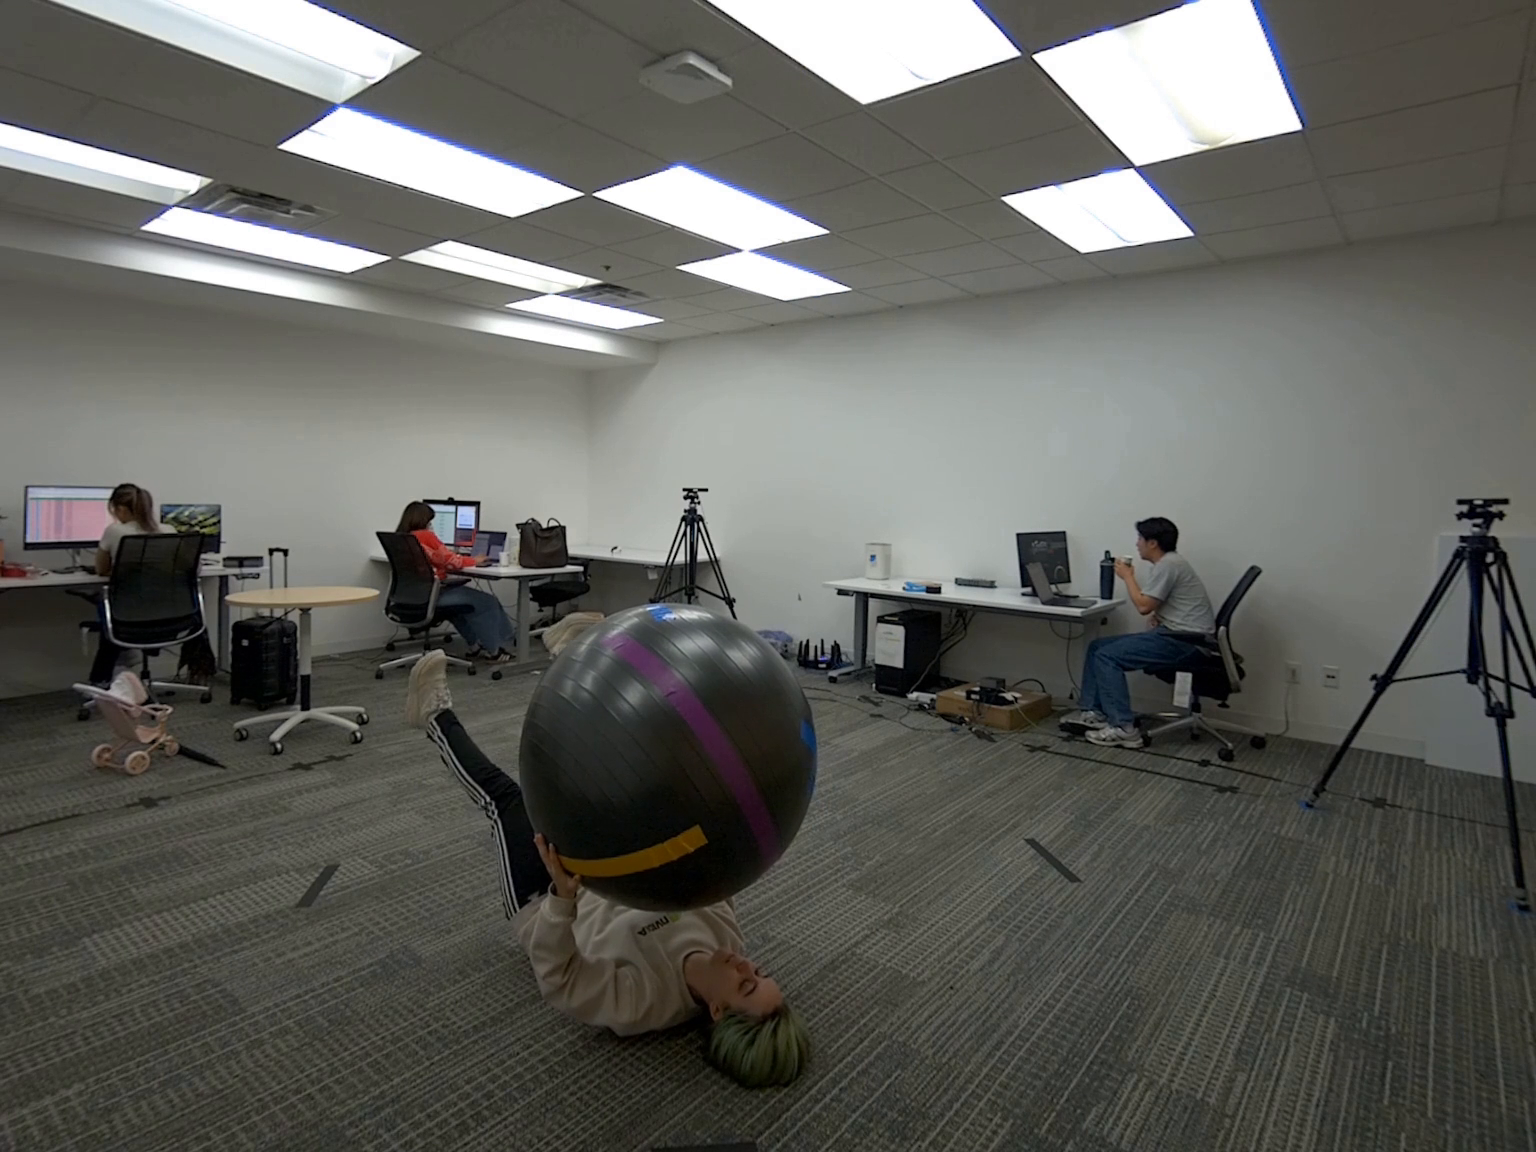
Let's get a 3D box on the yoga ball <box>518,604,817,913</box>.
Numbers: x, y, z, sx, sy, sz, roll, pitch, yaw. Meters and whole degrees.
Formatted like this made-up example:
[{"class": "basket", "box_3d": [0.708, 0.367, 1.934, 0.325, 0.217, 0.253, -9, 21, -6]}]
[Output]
[{"class": "yoga ball", "box_3d": [-0.261, 0.453, 2.180, 0.757, 0.755, 0.762, 1, 4, -2]}]
